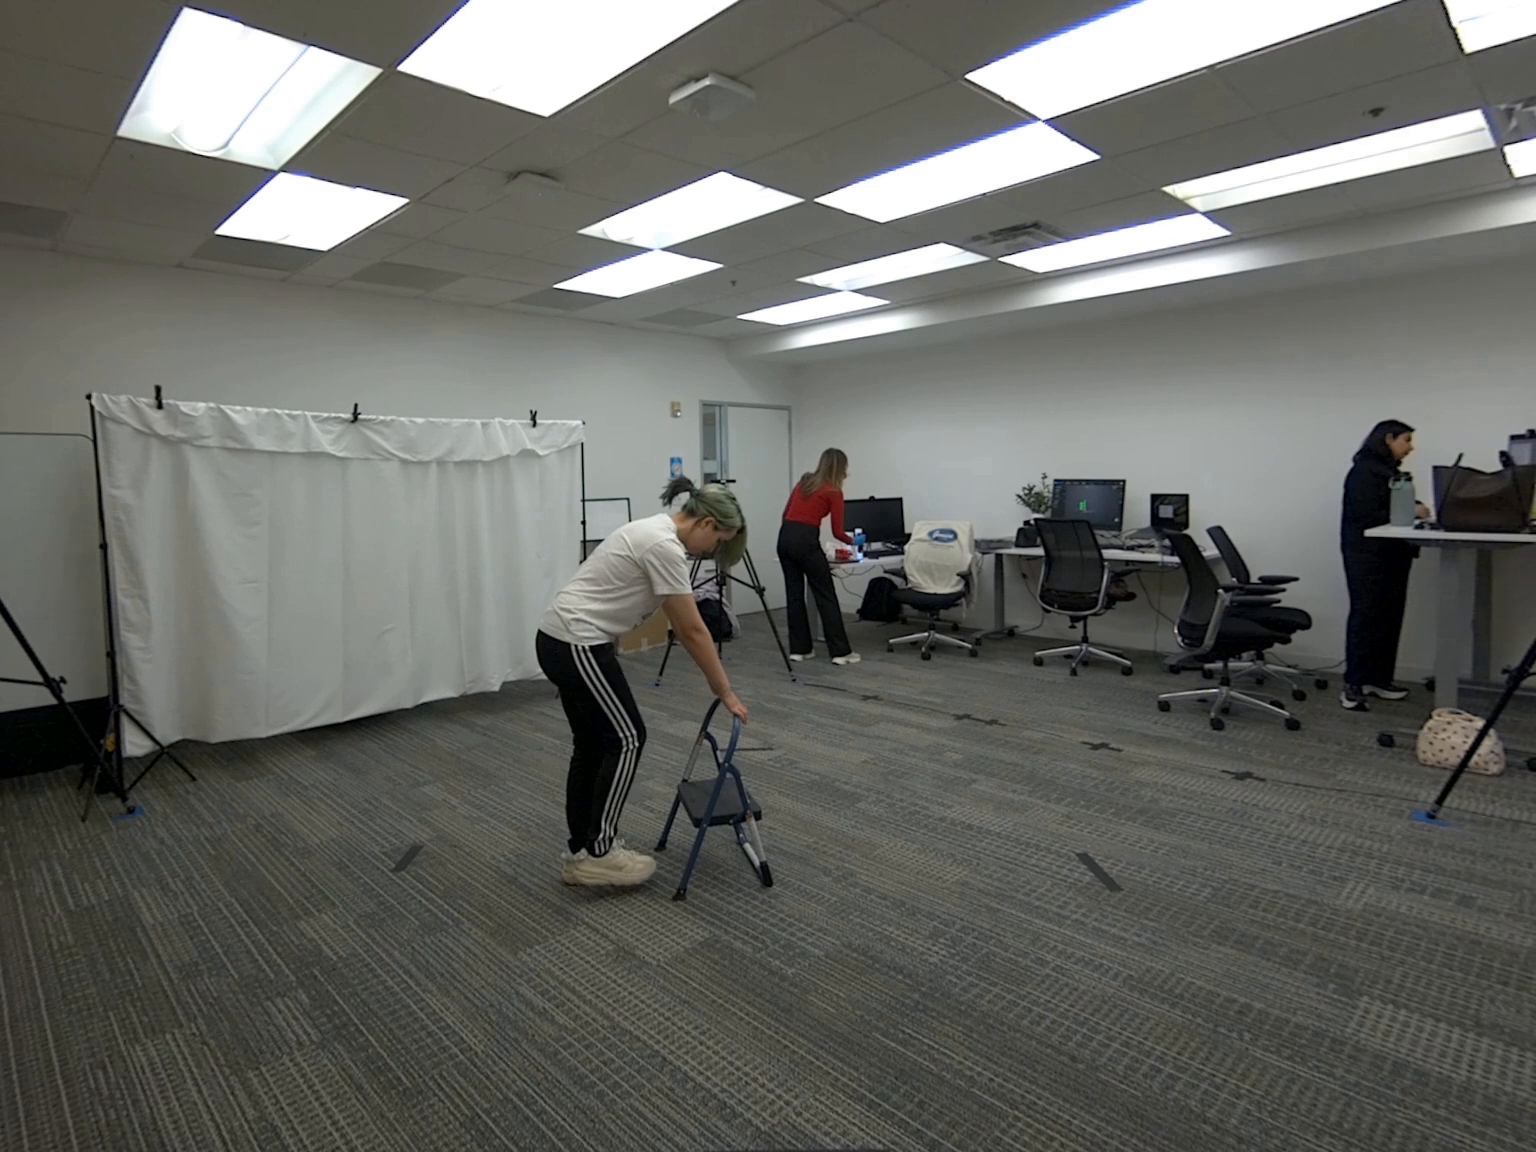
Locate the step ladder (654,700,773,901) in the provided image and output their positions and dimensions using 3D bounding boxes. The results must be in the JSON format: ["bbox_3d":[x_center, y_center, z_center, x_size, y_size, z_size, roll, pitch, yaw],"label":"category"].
[{"bbox_3d":[-0.208,0.753,3.071,0.344,0.604,0.438,-2,5,-15],"label":"step ladder"}]
